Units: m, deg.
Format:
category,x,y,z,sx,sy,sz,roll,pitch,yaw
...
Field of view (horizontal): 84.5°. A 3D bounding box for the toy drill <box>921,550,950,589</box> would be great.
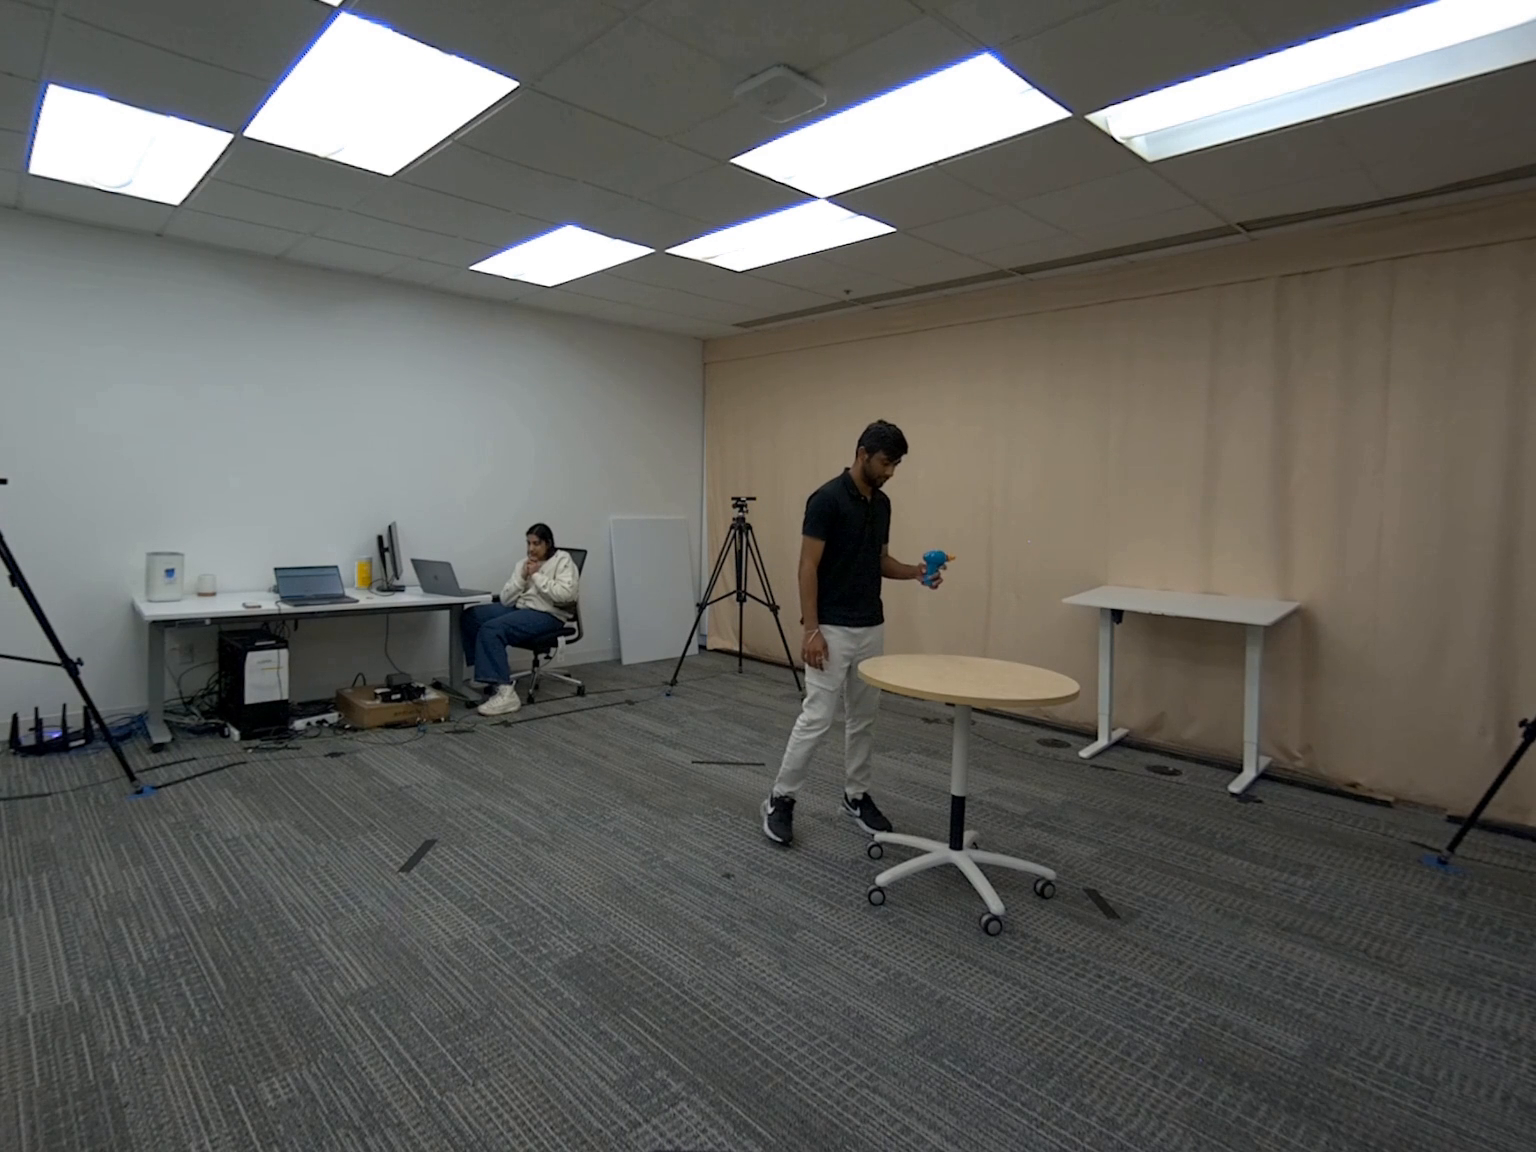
category,x,y,z,sx,sy,sz,roll,pitch,yaw
toy drill,0.675,-0.034,3.399,0.166,0.145,0.063,1,14,-27
